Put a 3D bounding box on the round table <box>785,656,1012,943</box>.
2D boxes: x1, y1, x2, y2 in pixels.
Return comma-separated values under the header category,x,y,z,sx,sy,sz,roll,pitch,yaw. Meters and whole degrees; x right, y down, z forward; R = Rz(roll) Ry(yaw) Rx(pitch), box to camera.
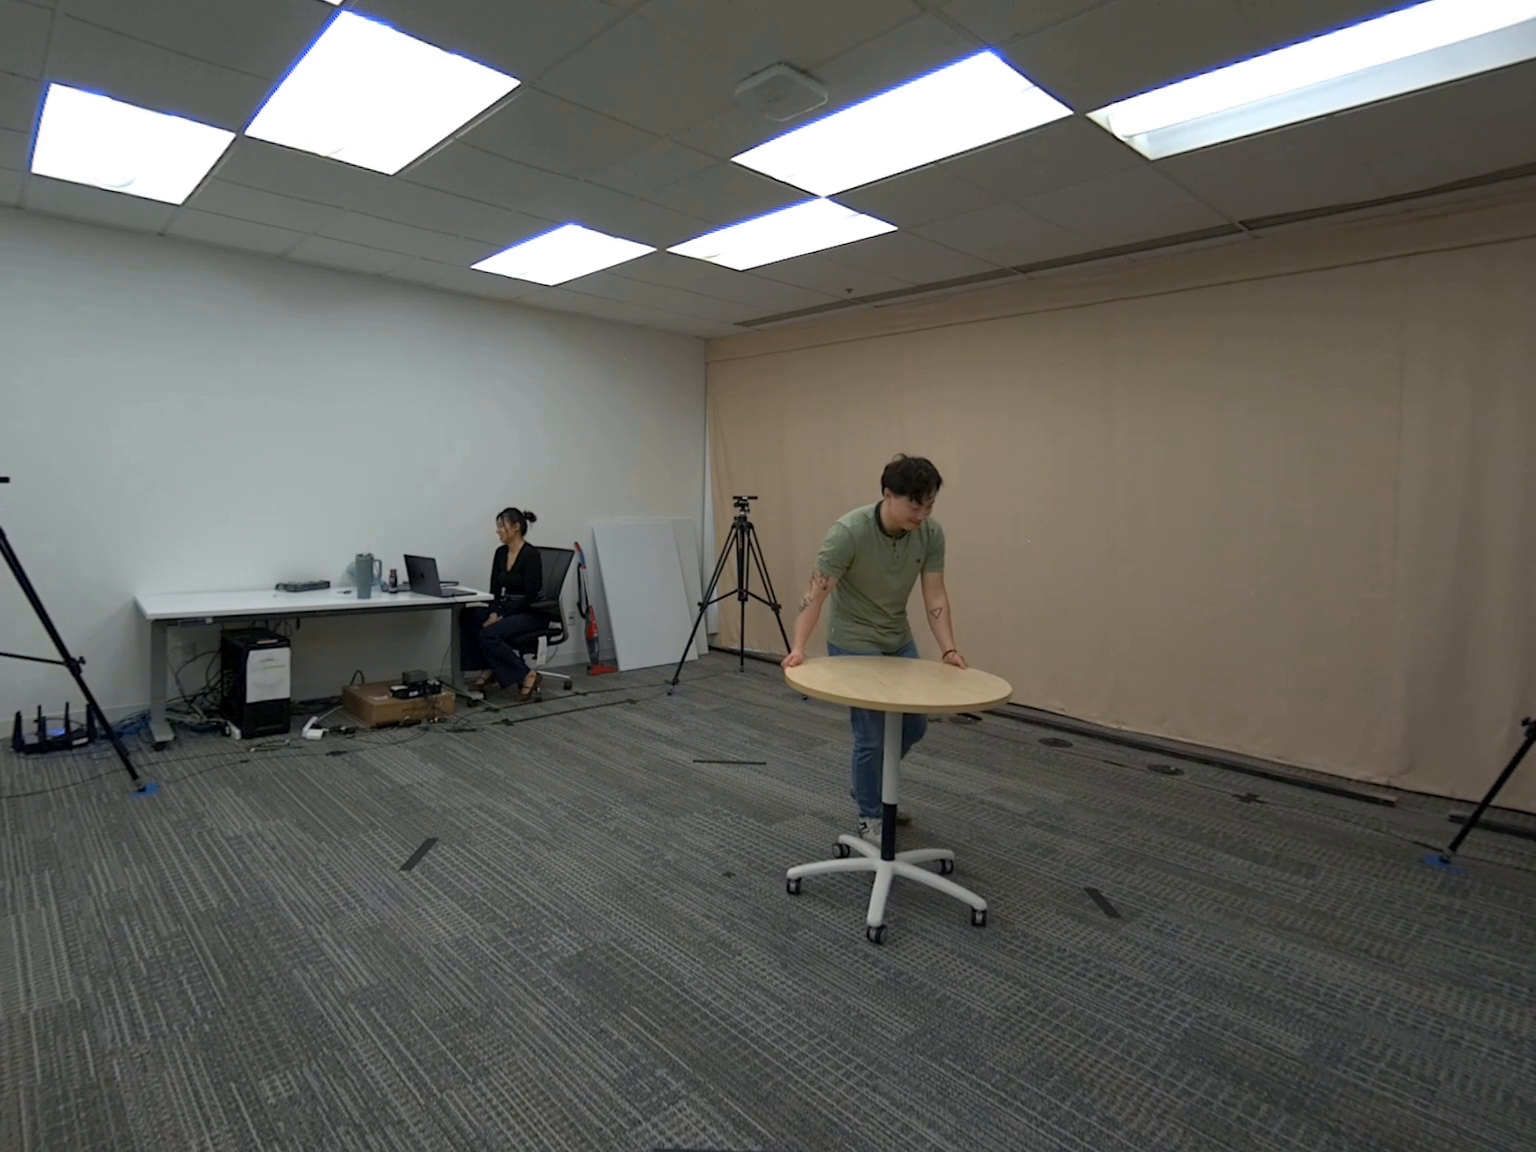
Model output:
category,x,y,z,sx,sy,sz,roll,pitch,yaw
round table,0.416,0.743,2.937,0.763,0.792,0.767,2,4,-2
